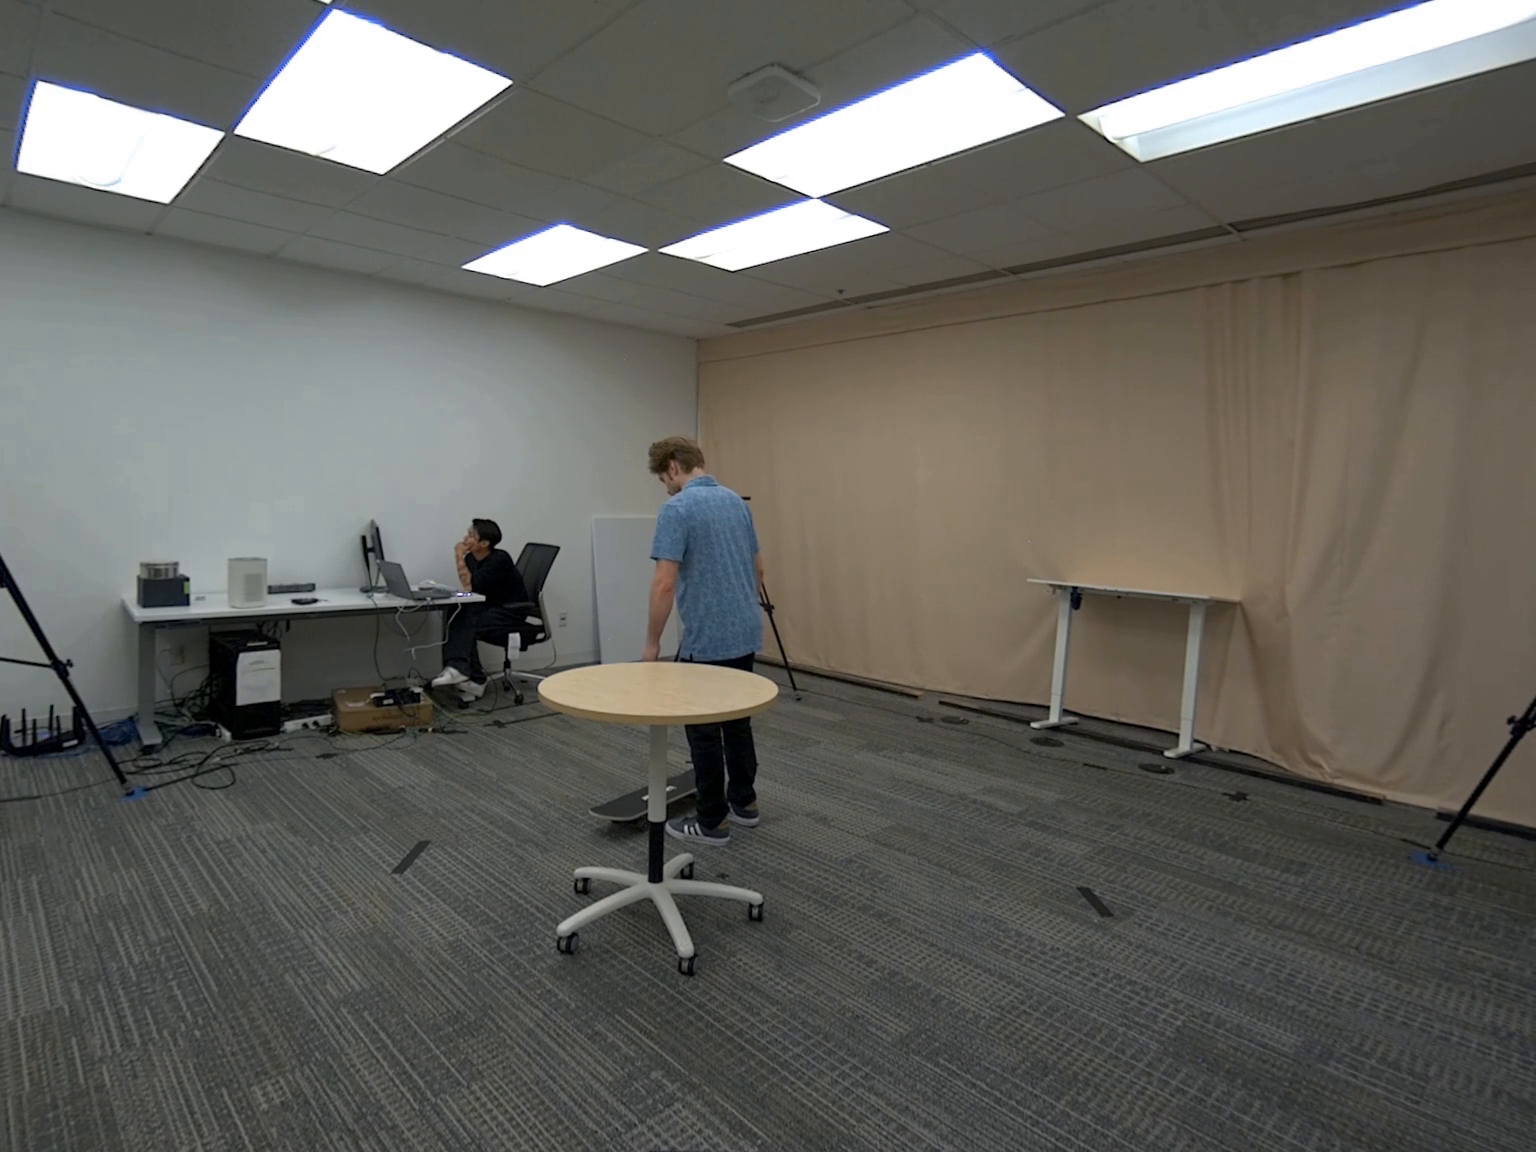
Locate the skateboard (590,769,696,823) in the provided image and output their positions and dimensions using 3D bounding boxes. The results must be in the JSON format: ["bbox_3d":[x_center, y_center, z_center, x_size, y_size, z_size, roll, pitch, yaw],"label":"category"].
[{"bbox_3d":[-0.485,0.984,3.709,0.198,0.110,0.769,4,5,33],"label":"skateboard"}]
